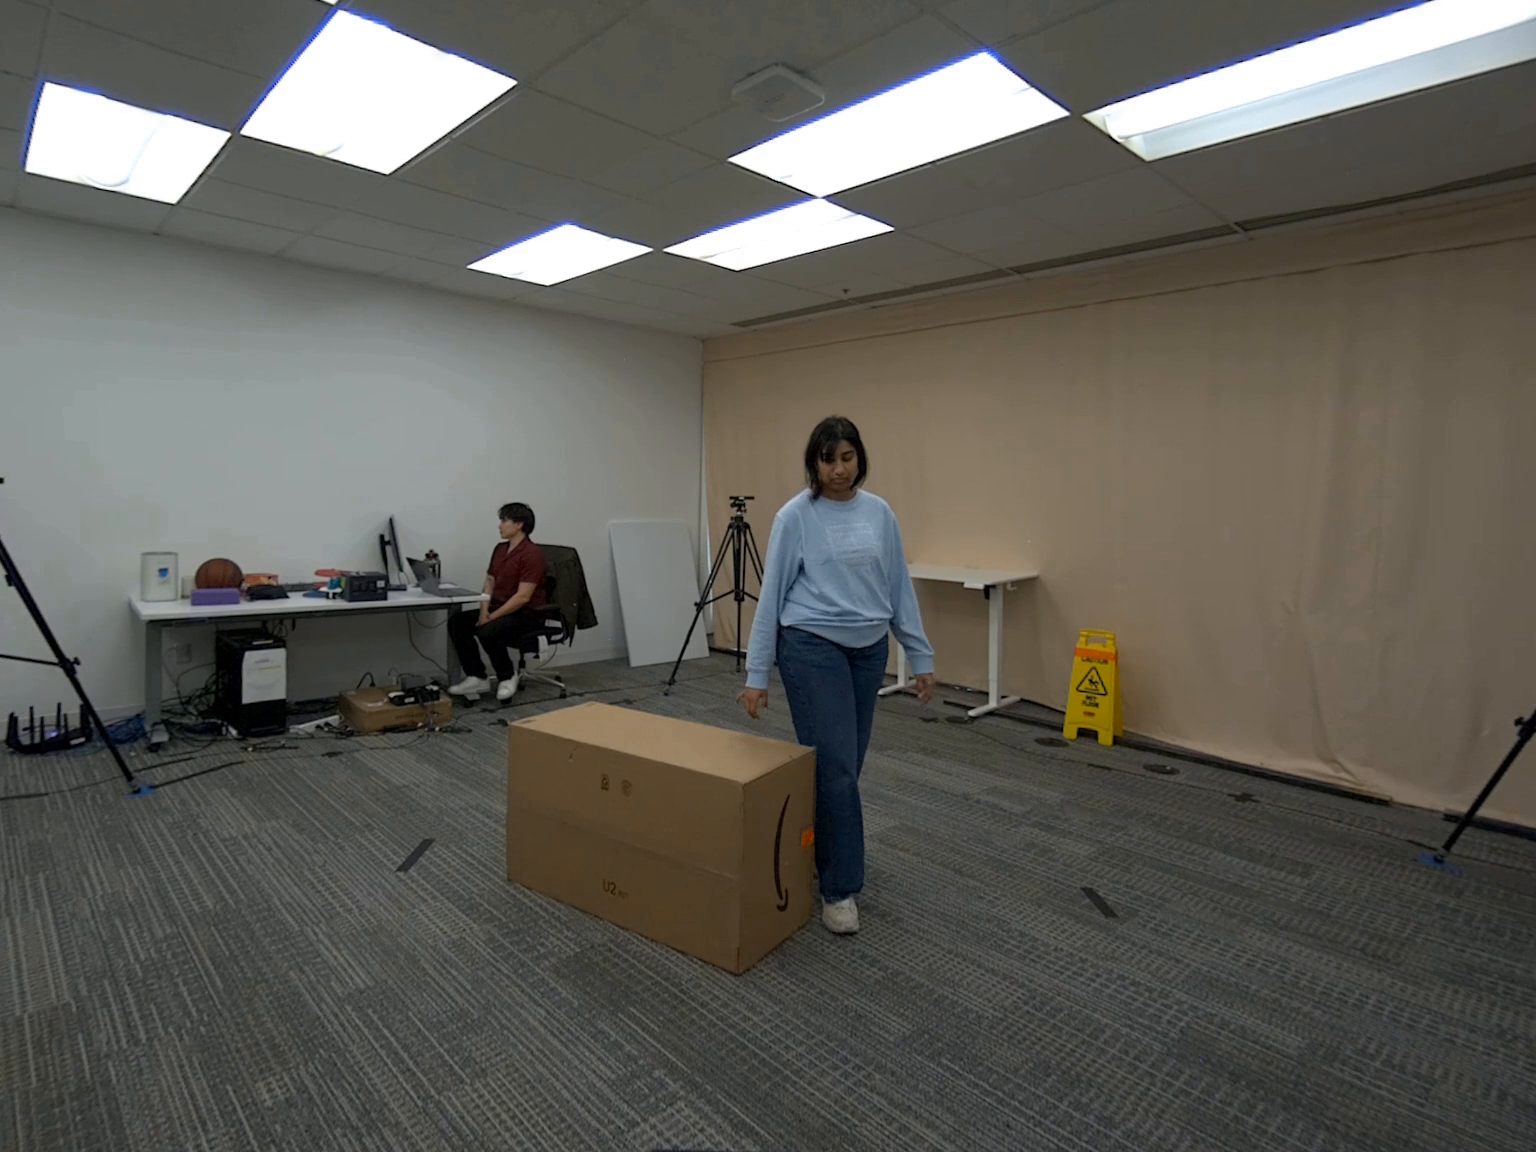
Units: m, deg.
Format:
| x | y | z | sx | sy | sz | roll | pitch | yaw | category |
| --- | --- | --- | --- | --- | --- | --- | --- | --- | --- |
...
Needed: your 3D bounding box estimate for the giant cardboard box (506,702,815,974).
| x | y | z | sx | sy | sz | roll | pitch | yaw | category |
| --- | --- | --- | --- | --- | --- | --- | --- | --- | --- |
| -0.400 | 0.833 | 2.888 | 1.051 | 0.582 | 0.437 | 4 | 5 | 35 | giant cardboard box |
